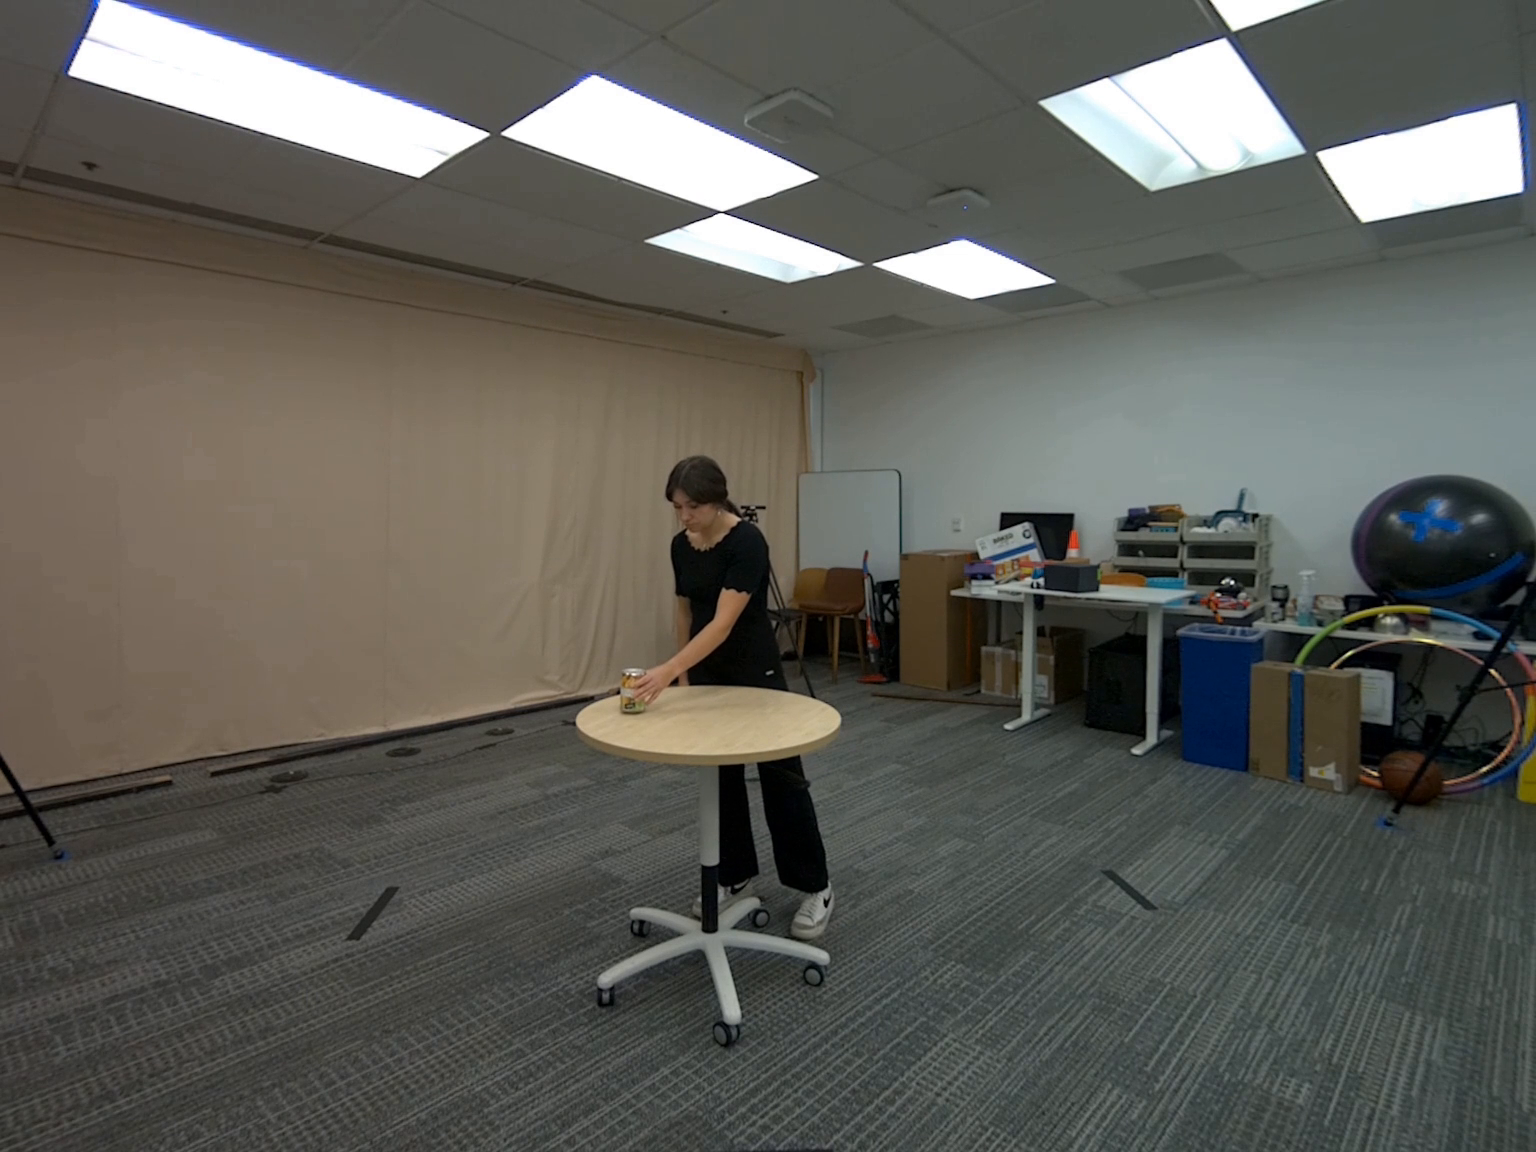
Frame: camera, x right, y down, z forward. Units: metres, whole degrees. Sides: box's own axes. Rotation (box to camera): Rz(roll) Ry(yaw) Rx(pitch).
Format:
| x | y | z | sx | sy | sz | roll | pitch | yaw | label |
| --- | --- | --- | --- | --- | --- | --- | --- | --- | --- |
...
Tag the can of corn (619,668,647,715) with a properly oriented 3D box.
| x | y | z | sx | sy | sz | roll | pitch | yaw | label |
| --- | --- | --- | --- | --- | --- | --- | --- | --- | --- |
| -0.390 | 0.338 | 2.487 | 0.074 | 0.111 | 0.074 | 1 | 1 | -2 | can of corn |
